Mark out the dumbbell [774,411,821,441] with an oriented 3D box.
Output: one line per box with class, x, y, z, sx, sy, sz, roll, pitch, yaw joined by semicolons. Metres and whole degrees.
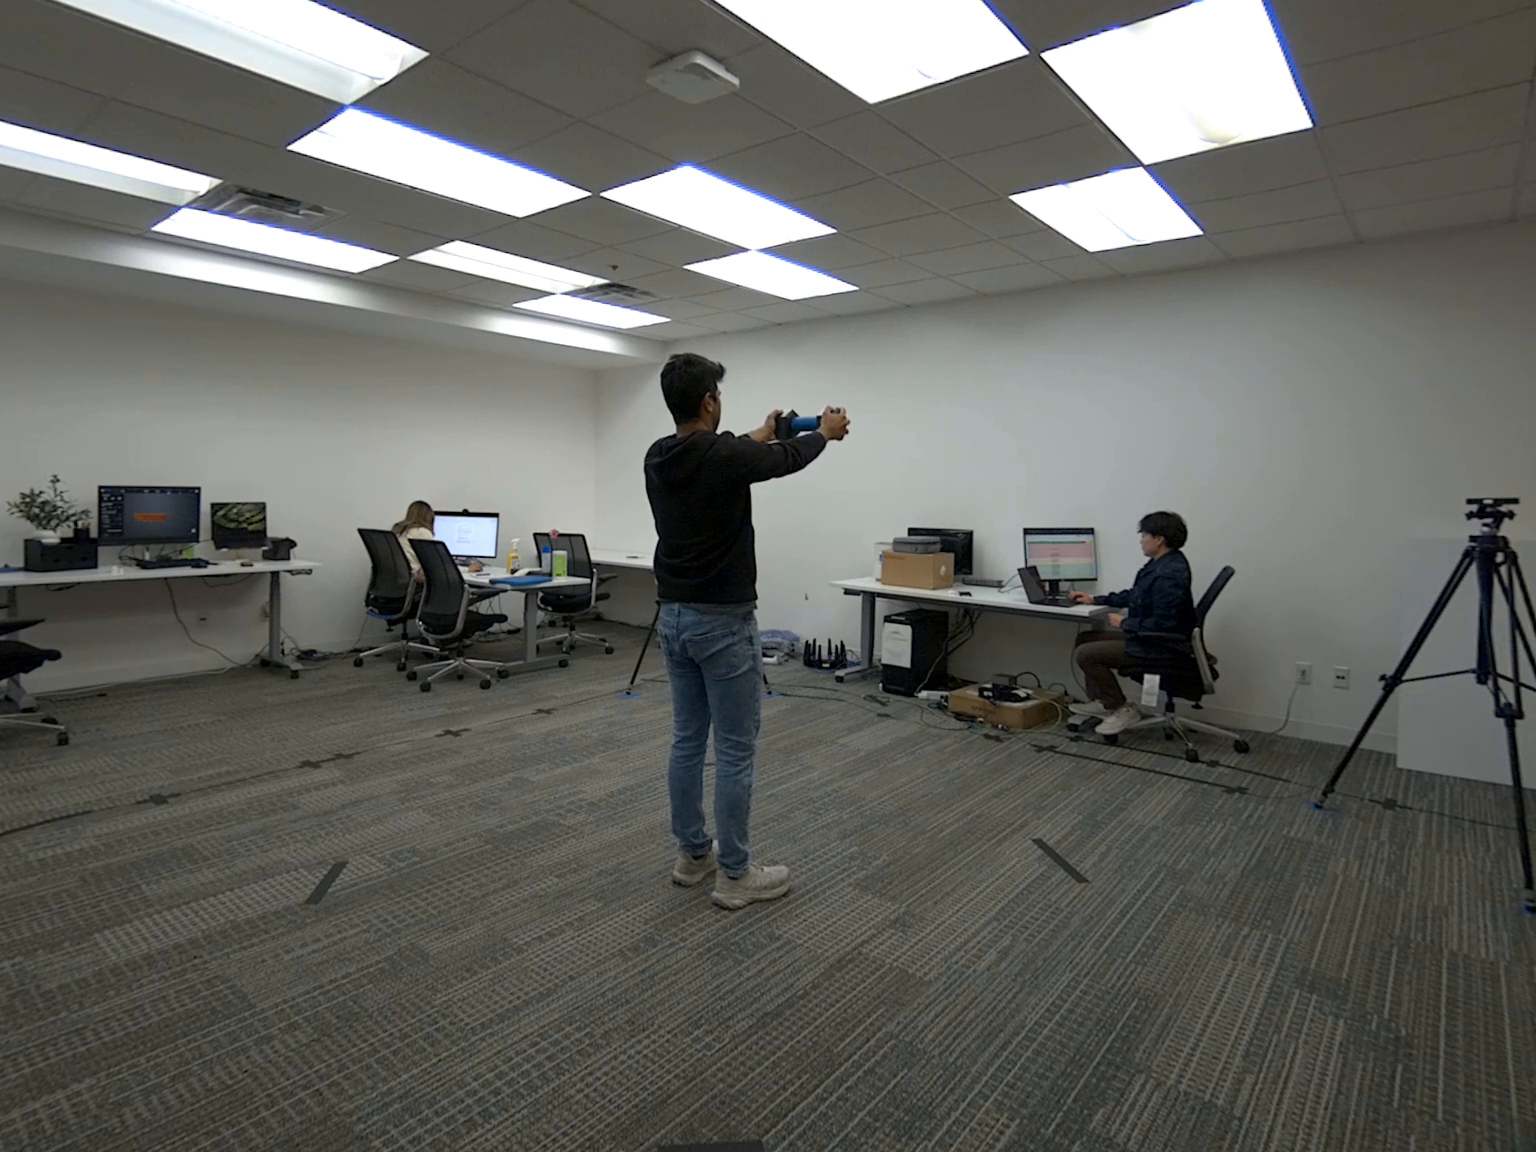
dumbbell;0.147;-0.597;3.298;0.304;0.122;0.106;7;15;40
